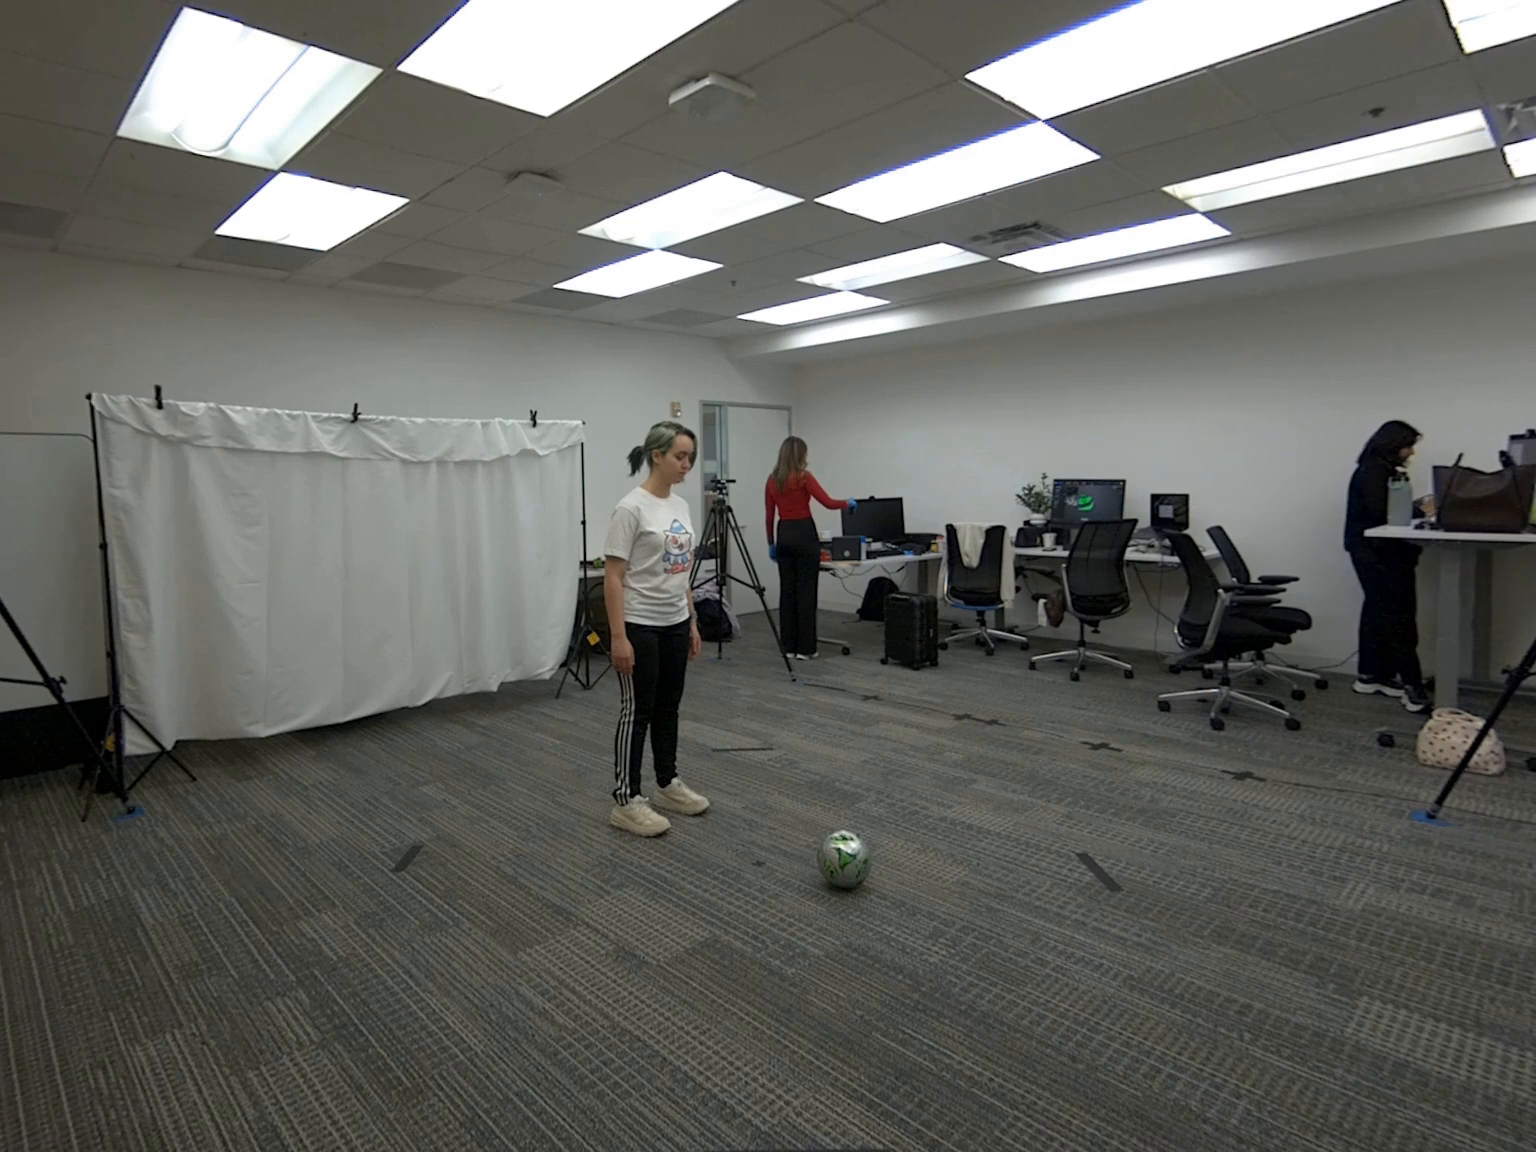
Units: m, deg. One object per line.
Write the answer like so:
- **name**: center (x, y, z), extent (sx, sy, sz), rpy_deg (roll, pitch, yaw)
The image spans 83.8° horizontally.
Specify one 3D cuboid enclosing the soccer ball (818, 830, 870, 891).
- **soccer ball**: center (0.262, 0.969, 2.919), extent (0.187, 0.187, 0.188), rpy_deg (-1, 5, -2)
